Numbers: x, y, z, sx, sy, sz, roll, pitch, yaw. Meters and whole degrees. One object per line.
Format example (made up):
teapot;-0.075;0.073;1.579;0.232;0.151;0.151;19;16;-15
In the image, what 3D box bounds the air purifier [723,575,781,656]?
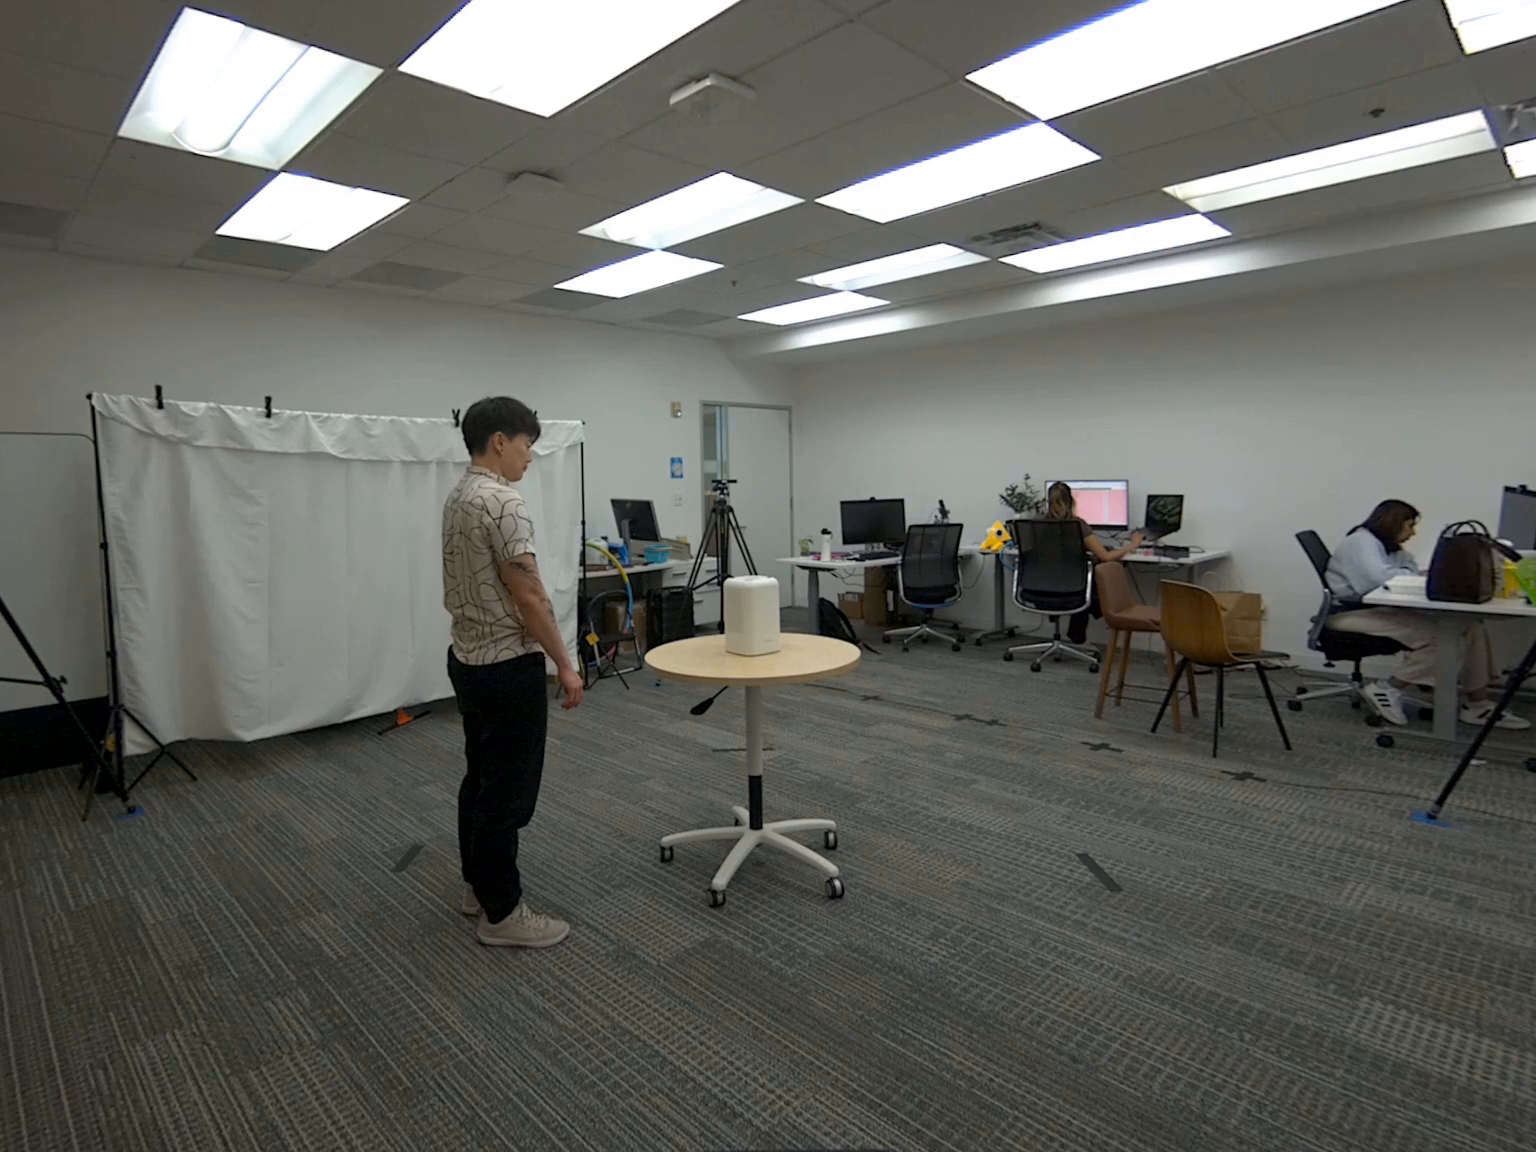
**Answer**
air purifier;-0.056;0.134;3.074;0.167;0.264;0.176;-4;4;-37
